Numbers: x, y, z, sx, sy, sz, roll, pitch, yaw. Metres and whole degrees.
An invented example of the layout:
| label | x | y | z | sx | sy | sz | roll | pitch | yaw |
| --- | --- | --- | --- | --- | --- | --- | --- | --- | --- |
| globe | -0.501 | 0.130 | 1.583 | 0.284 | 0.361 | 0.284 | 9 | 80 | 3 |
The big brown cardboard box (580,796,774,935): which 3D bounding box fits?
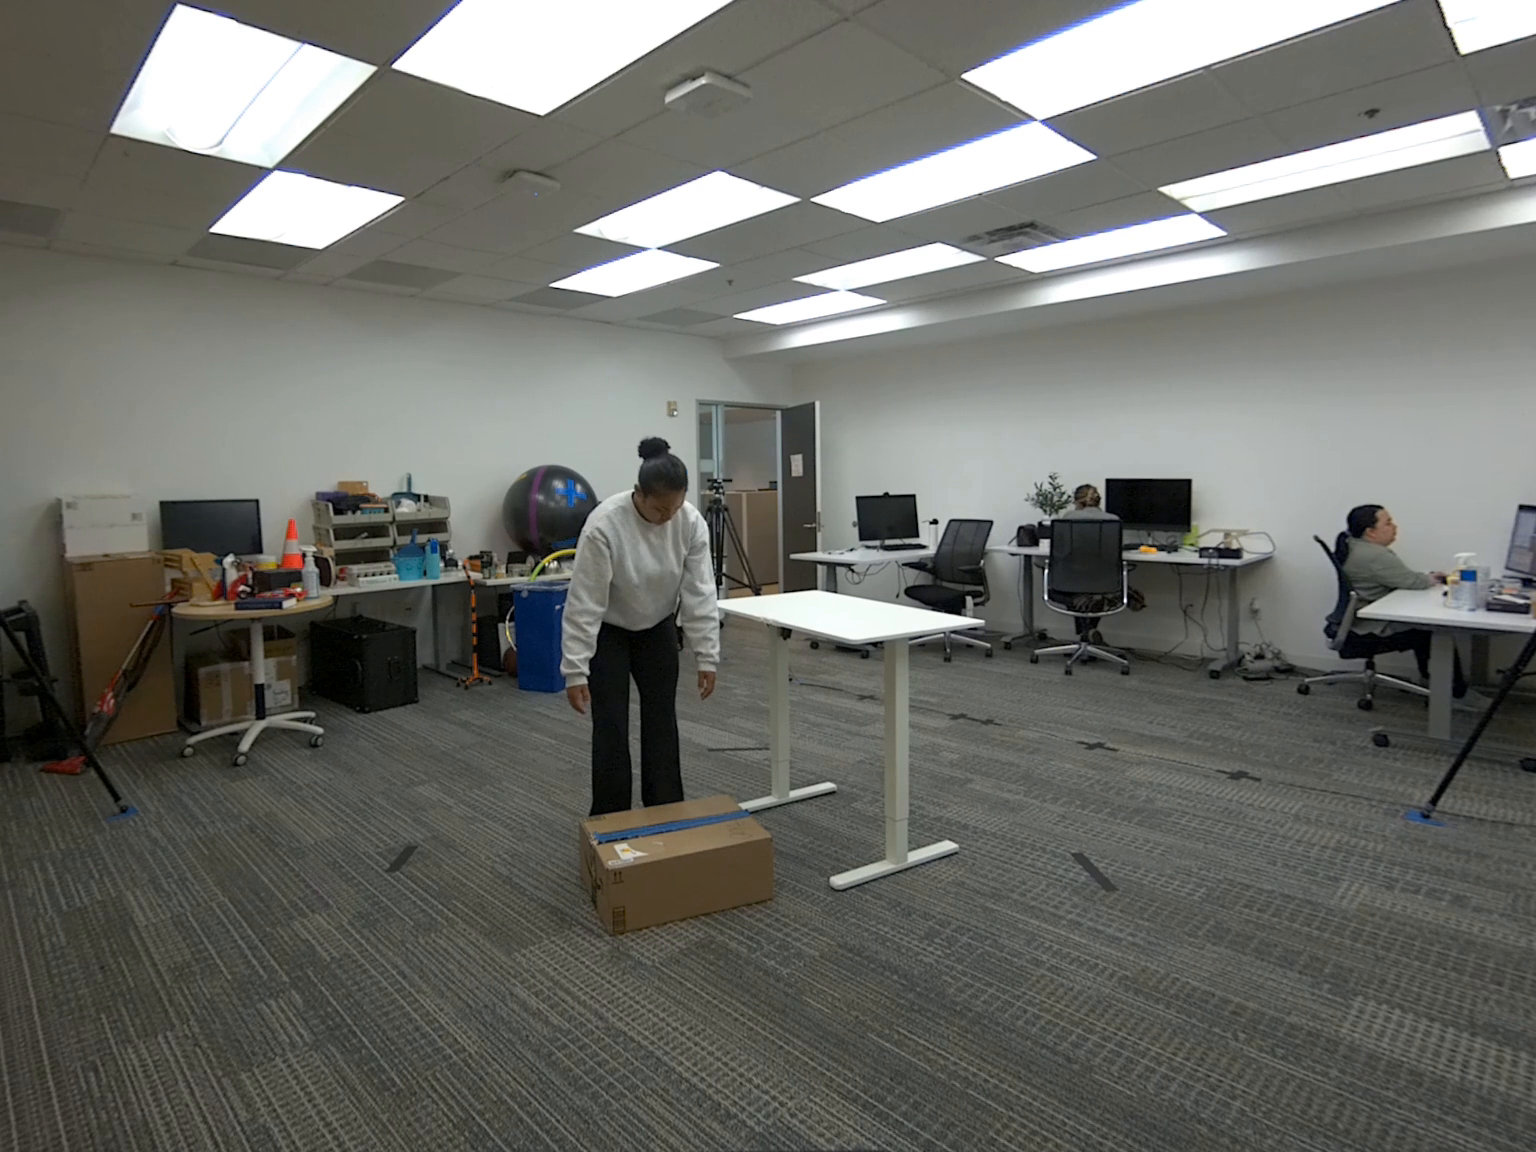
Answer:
| label | x | y | z | sx | sy | sz | roll | pitch | yaw |
| --- | --- | --- | --- | --- | --- | --- | --- | --- | --- |
| big brown cardboard box | -0.322 | 0.961 | 2.914 | 0.577 | 0.232 | 0.428 | -3 | 6 | -23 |
